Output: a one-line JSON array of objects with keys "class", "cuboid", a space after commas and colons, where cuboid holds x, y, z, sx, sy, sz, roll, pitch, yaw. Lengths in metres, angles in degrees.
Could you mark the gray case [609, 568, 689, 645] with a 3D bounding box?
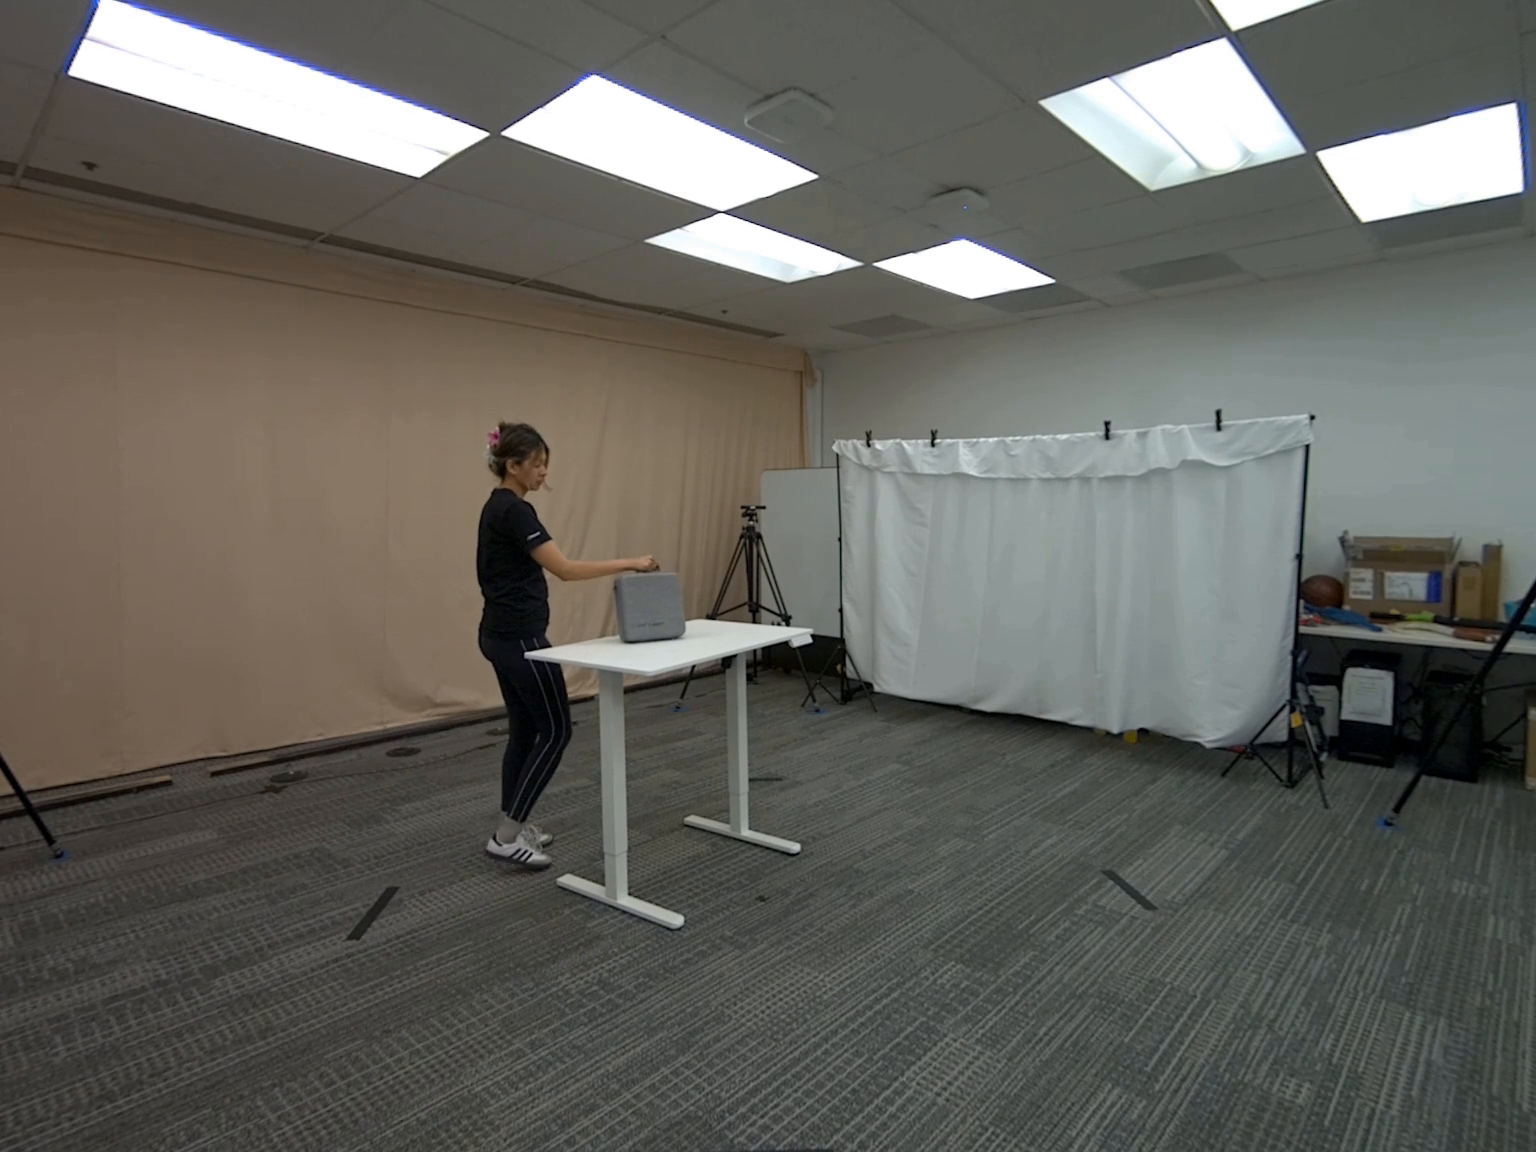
[{"class": "gray case", "cuboid": [-0.454, 0.114, 3.216, 0.250, 0.262, 0.106, -3, -9, -27]}]
